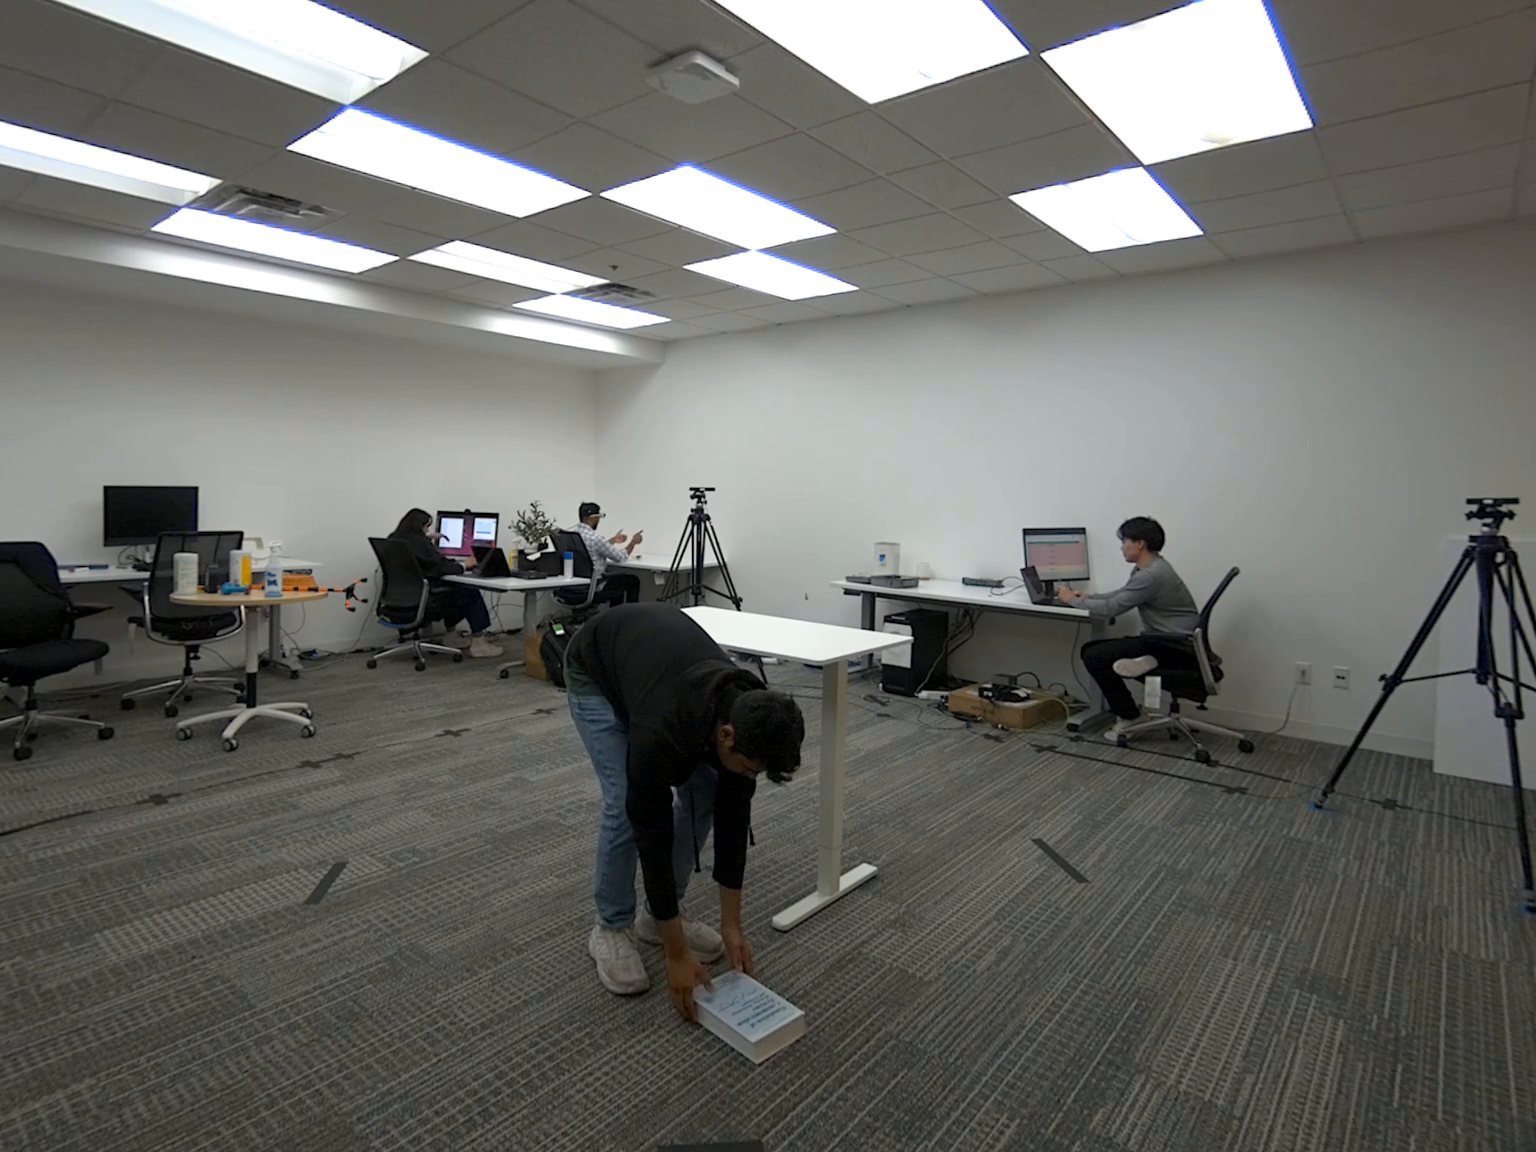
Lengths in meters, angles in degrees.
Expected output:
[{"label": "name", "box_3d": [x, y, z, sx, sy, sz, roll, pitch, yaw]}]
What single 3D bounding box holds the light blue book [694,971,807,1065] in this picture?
[{"label": "light blue book", "box_3d": [-0.065, 1.128, 2.208, 0.186, 0.059, 0.270, -5, 8, -43]}]
